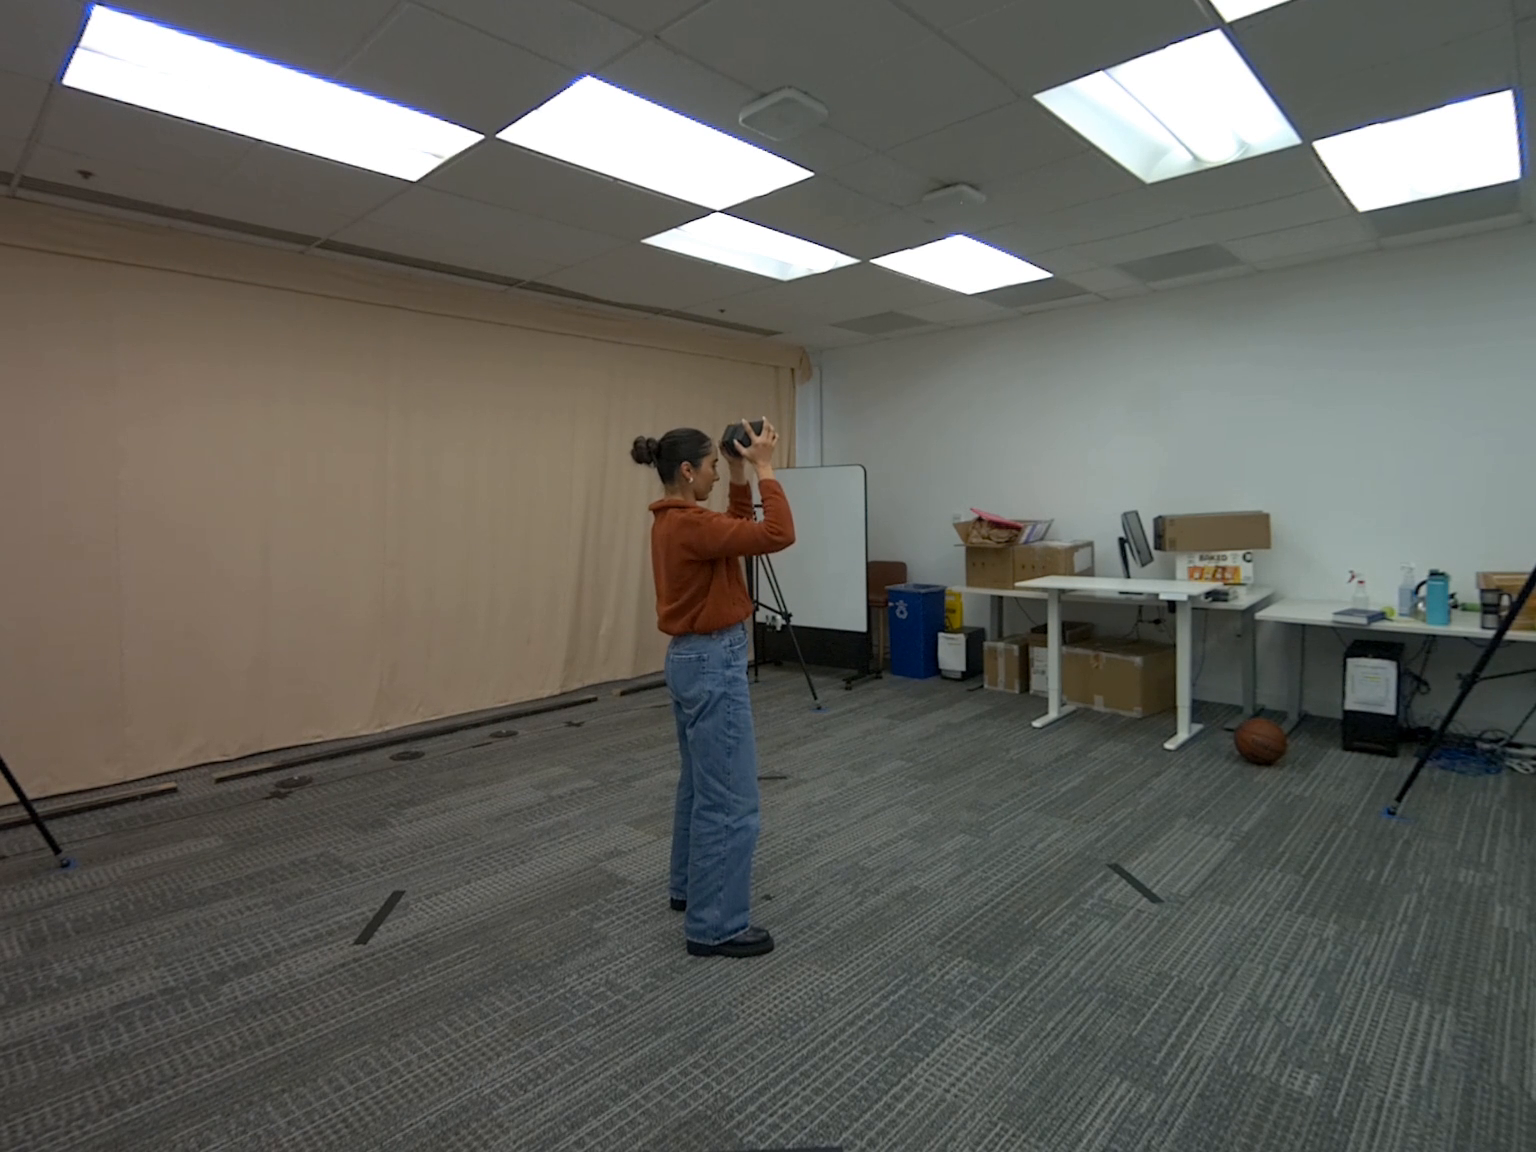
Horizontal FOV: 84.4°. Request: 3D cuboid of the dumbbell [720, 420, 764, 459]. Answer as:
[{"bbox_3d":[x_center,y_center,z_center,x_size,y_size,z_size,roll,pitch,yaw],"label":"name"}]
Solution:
[{"bbox_3d":[-0.068,-0.449,2.727,0.108,0.121,0.298,-40,14,-5],"label":"dumbbell"}]
